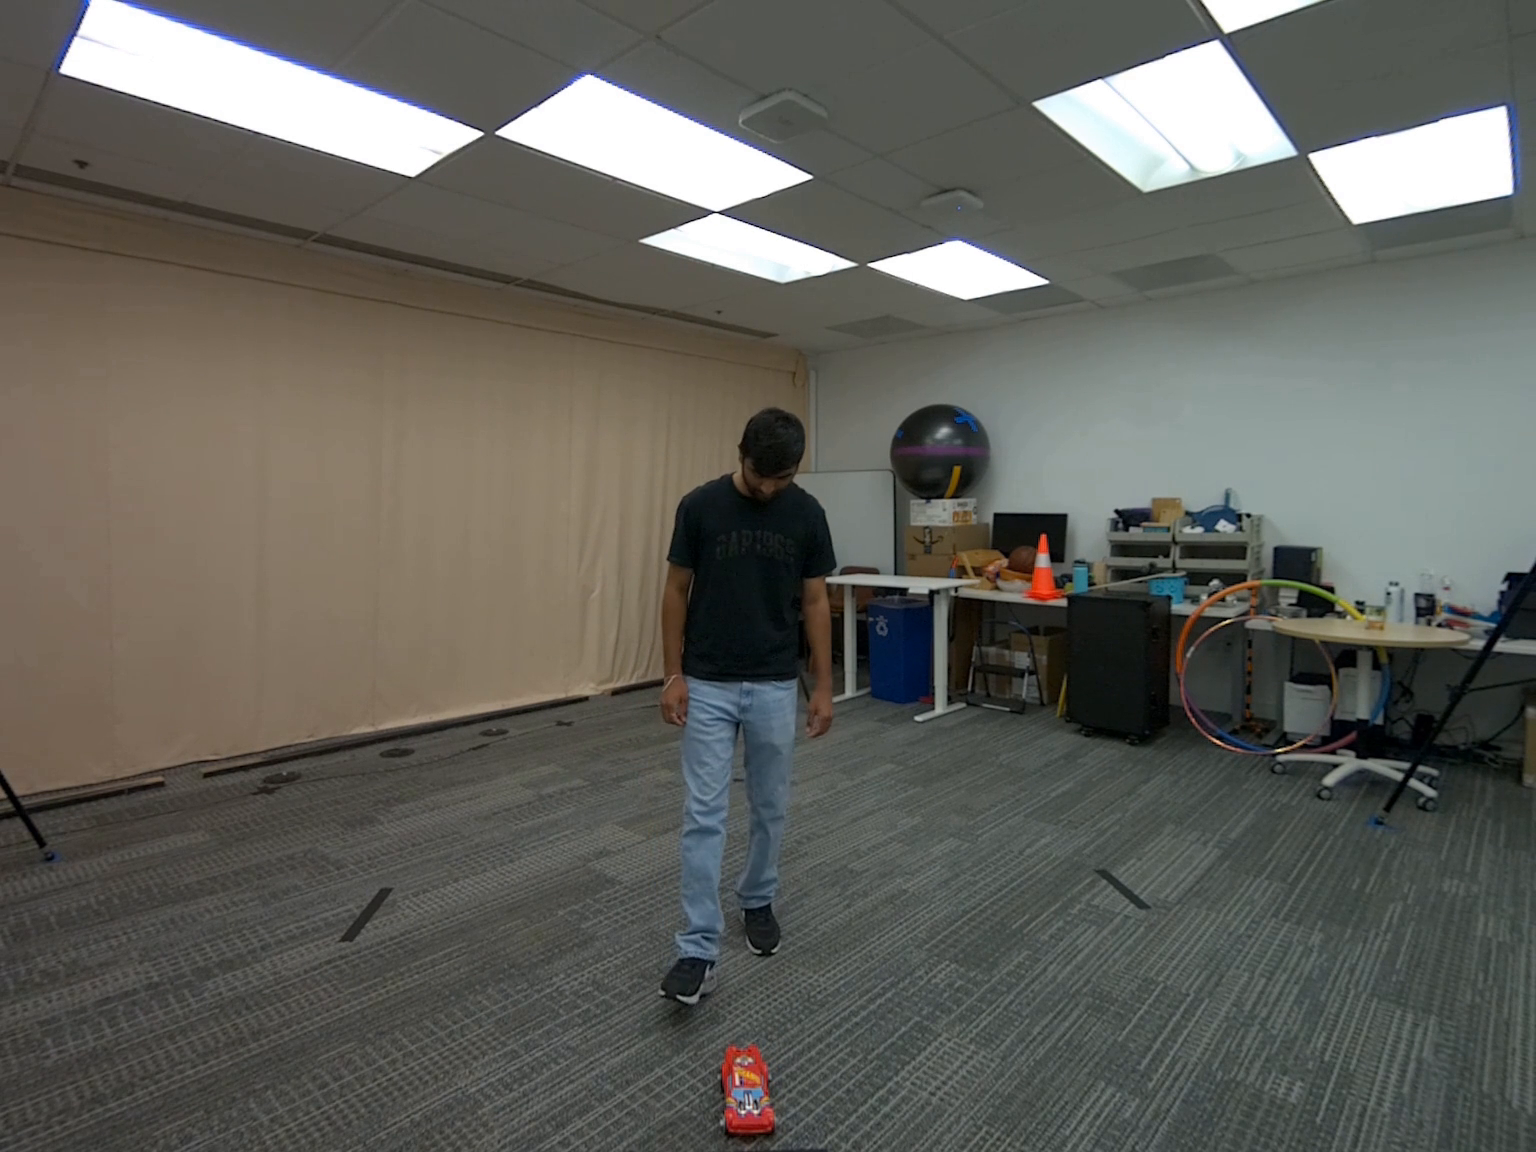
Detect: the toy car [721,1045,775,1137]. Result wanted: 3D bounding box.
[{"bbox_3d":[-0.051,1.197,1.960,0.130,0.082,0.258,-2,15,-5],"label":"toy car"}]
